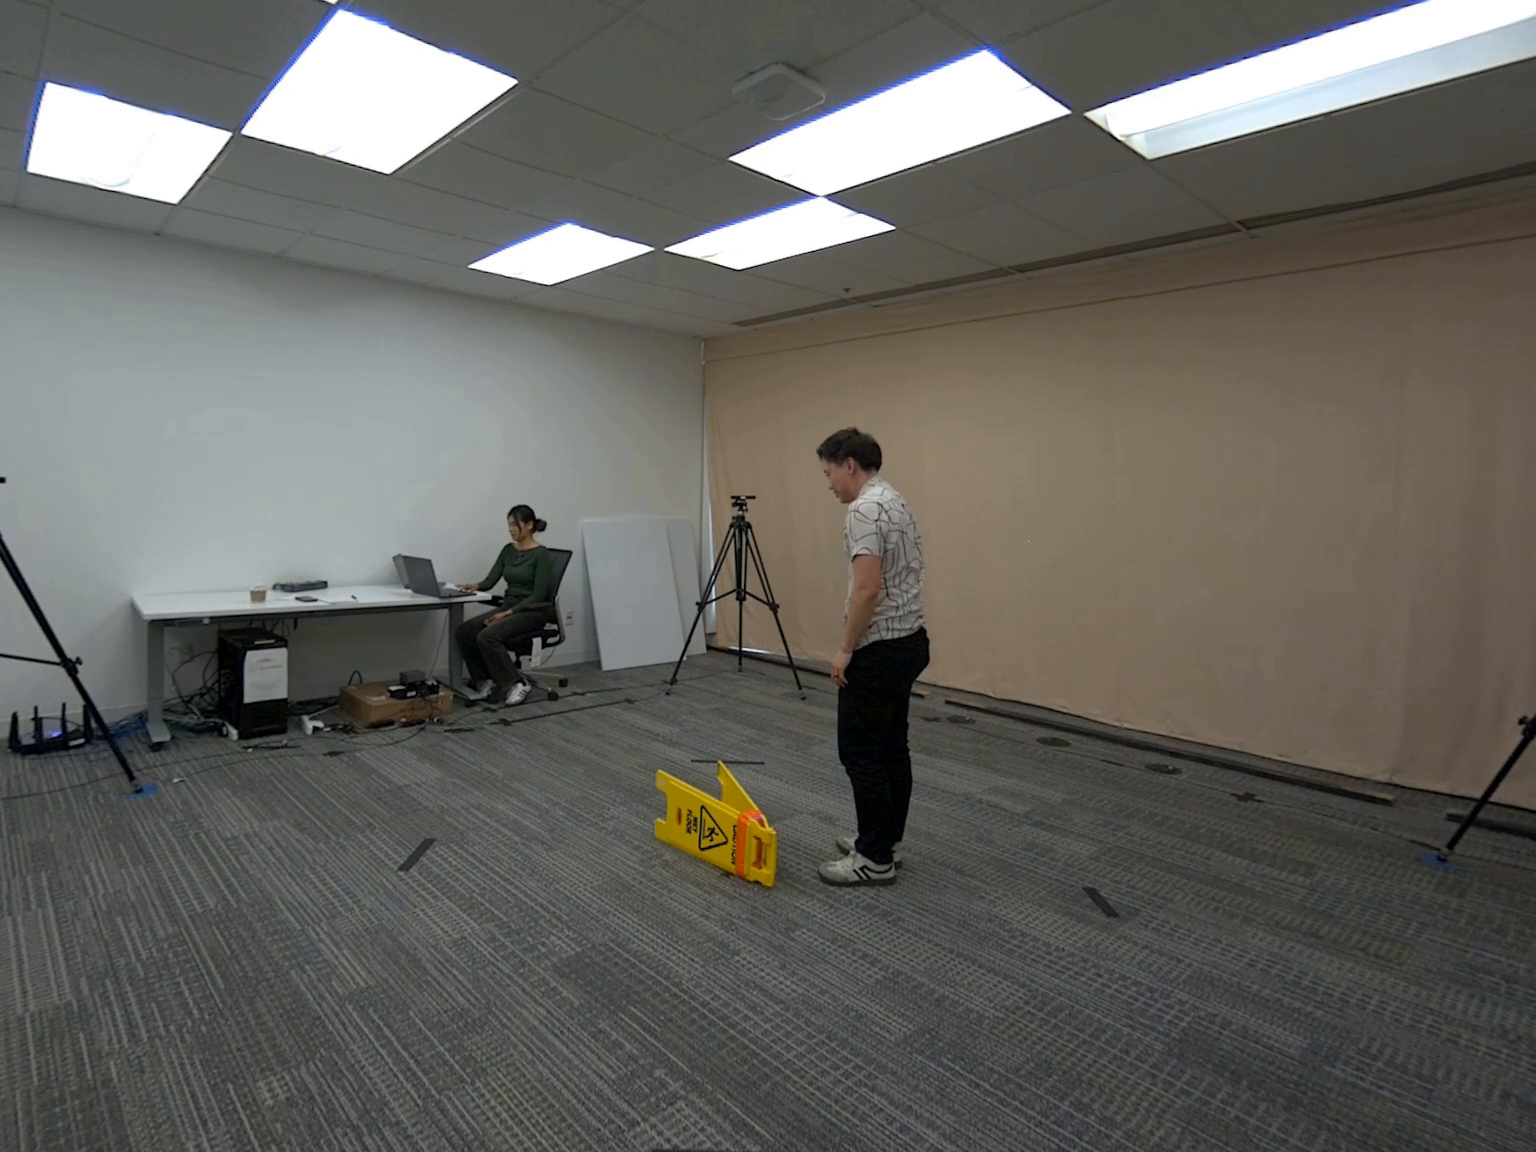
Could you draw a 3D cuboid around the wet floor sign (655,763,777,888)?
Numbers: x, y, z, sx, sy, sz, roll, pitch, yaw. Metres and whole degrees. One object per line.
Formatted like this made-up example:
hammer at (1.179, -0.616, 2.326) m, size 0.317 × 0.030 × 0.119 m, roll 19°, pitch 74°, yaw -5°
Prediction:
wet floor sign at (-0.164, 0.961, 3.231) m, size 0.283 × 0.281 × 0.662 m, roll -1°, pitch 7°, yaw -33°
